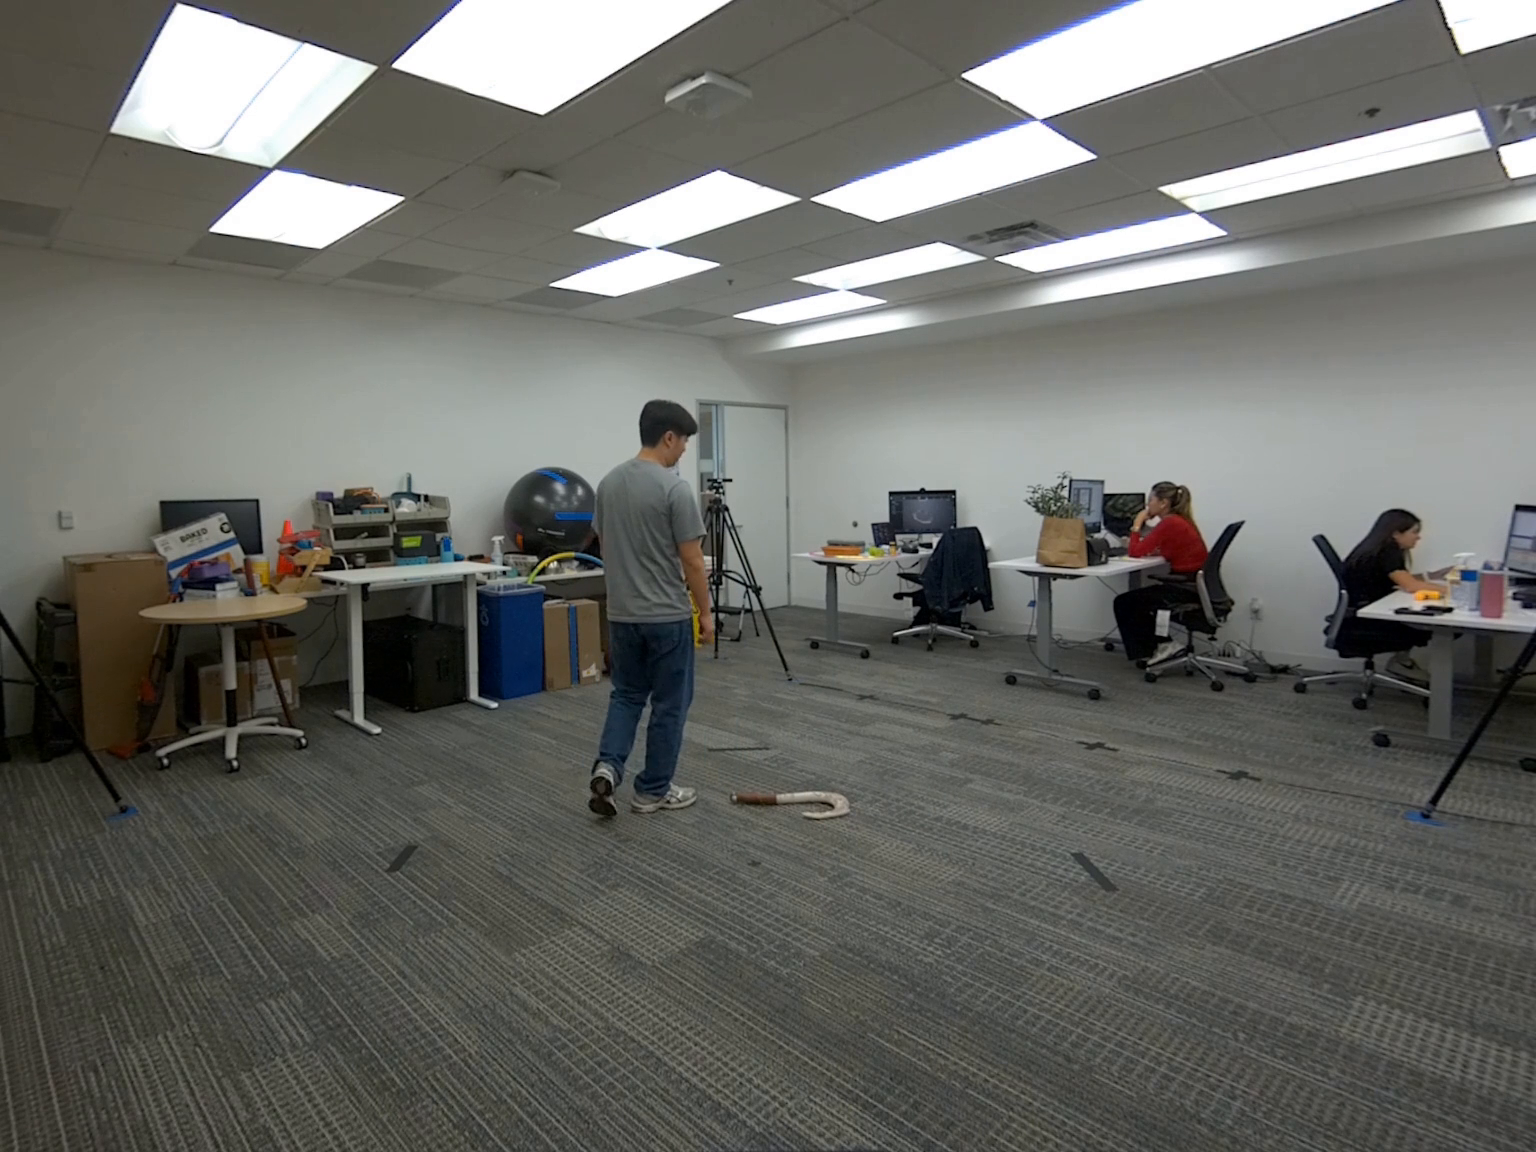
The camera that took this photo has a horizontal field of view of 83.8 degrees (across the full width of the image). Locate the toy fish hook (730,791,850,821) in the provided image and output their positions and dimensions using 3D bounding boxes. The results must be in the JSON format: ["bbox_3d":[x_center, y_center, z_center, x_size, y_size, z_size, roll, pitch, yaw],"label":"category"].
[{"bbox_3d":[0.089,0.958,3.607,0.509,0.048,0.224,-1,5,5],"label":"toy fish hook"}]
